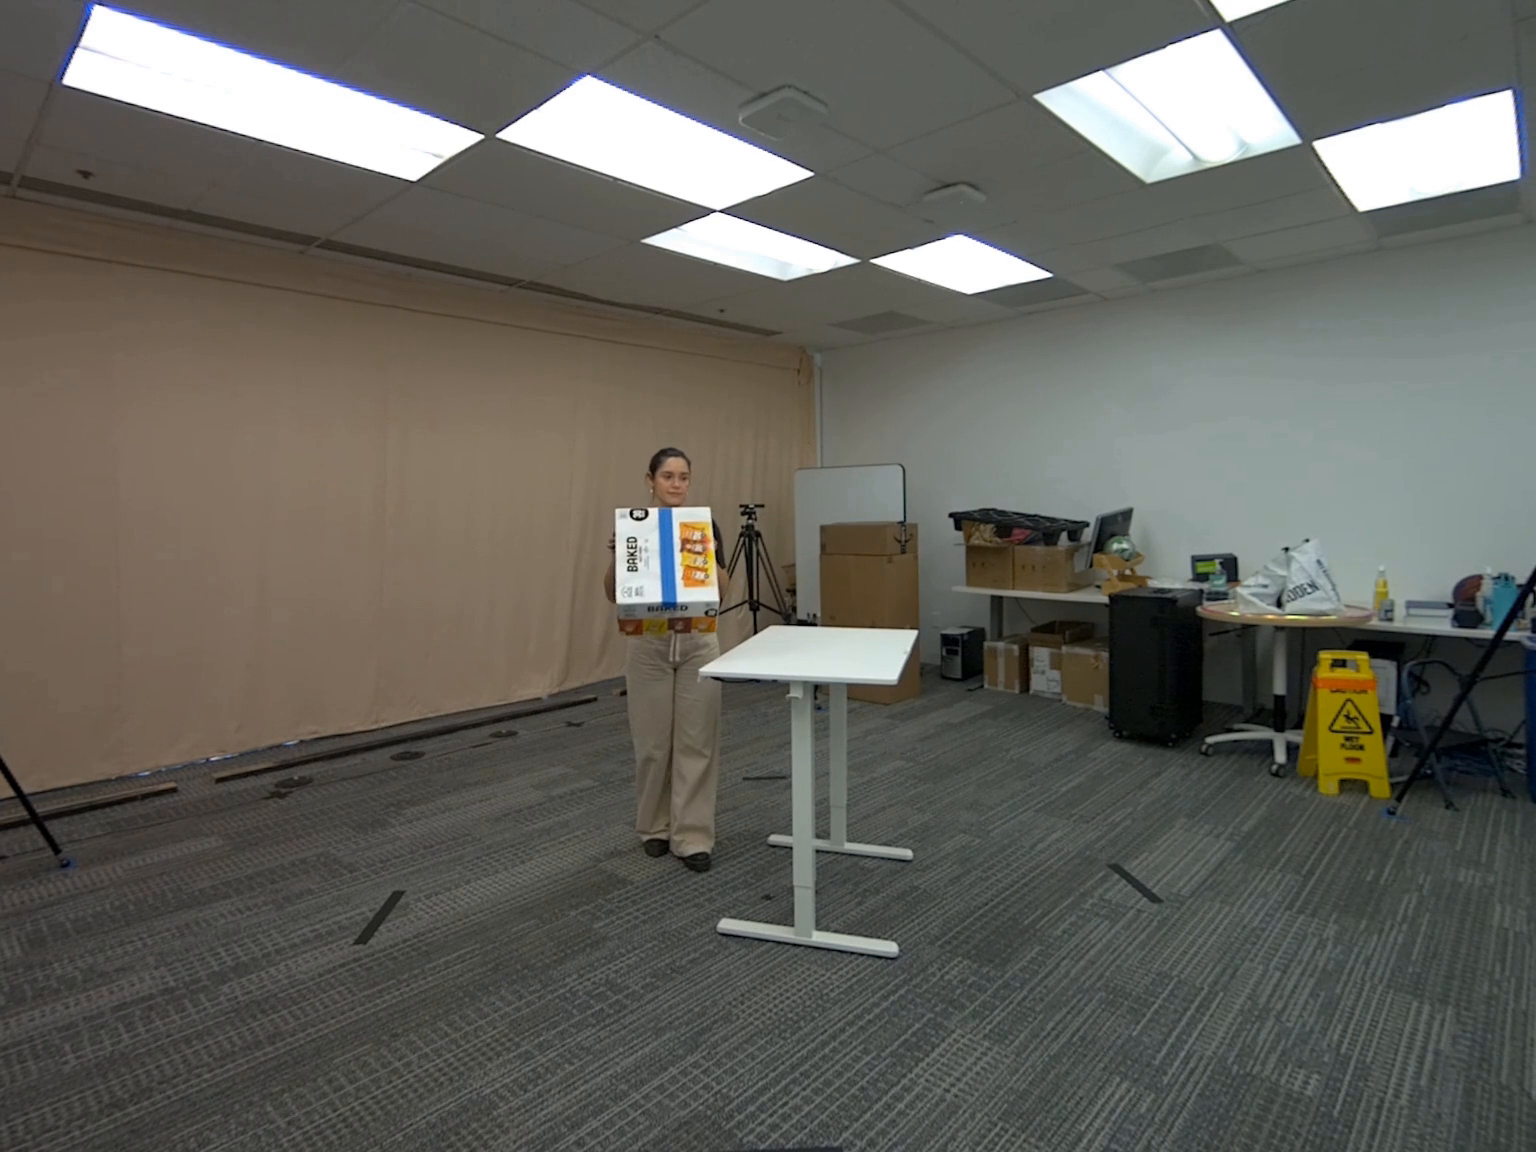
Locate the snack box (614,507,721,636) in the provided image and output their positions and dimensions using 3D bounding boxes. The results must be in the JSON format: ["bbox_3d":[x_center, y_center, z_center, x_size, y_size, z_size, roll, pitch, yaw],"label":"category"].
[{"bbox_3d":[-0.362,-0.018,2.973,0.338,0.413,0.203,-1,-35,-5],"label":"snack box"}]
